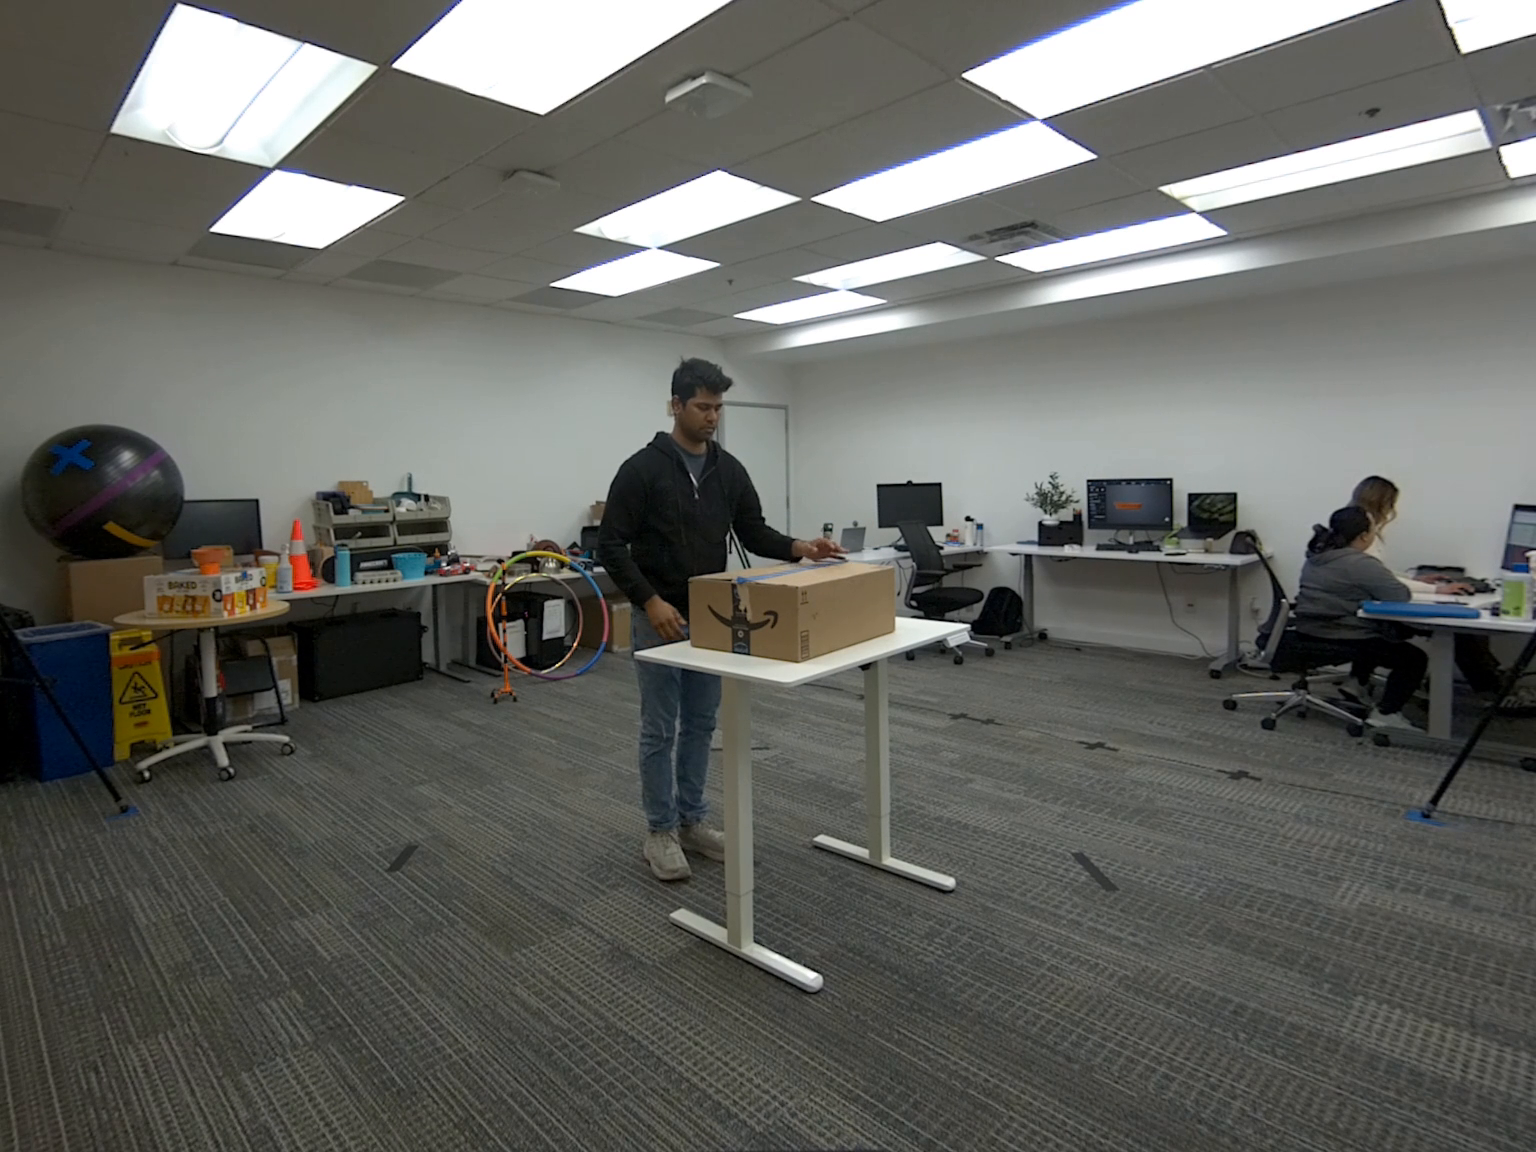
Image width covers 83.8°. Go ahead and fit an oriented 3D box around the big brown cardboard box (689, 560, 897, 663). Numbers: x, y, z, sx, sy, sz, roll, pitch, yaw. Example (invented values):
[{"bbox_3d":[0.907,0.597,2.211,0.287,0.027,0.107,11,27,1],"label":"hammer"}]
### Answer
[{"bbox_3d":[0.088,0.093,2.733,0.430,0.232,0.575,3,9,38],"label":"big brown cardboard box"}]
